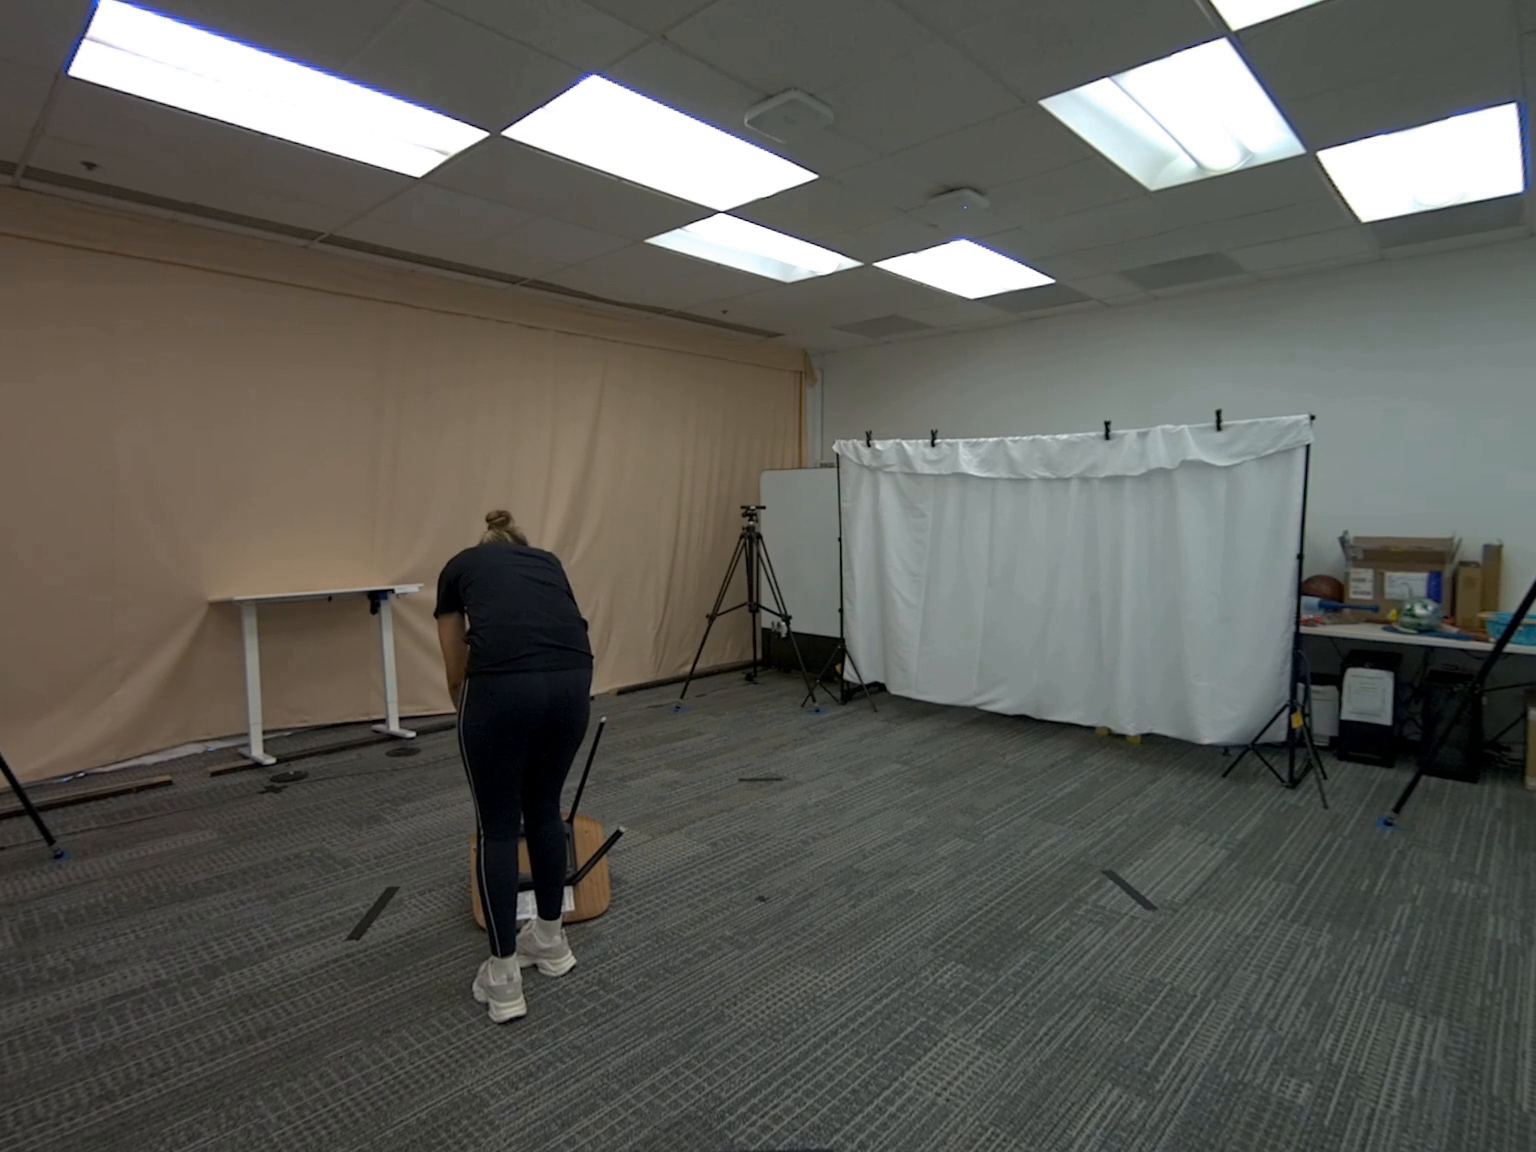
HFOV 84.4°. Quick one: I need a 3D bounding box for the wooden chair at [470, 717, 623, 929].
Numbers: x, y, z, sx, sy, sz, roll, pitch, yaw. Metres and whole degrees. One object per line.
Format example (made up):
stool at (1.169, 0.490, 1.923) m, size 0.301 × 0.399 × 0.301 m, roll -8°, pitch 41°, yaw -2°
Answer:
wooden chair at (-0.801, 0.980, 2.961) m, size 0.469 × 0.868 × 0.538 m, roll -1°, pitch 44°, yaw -19°
